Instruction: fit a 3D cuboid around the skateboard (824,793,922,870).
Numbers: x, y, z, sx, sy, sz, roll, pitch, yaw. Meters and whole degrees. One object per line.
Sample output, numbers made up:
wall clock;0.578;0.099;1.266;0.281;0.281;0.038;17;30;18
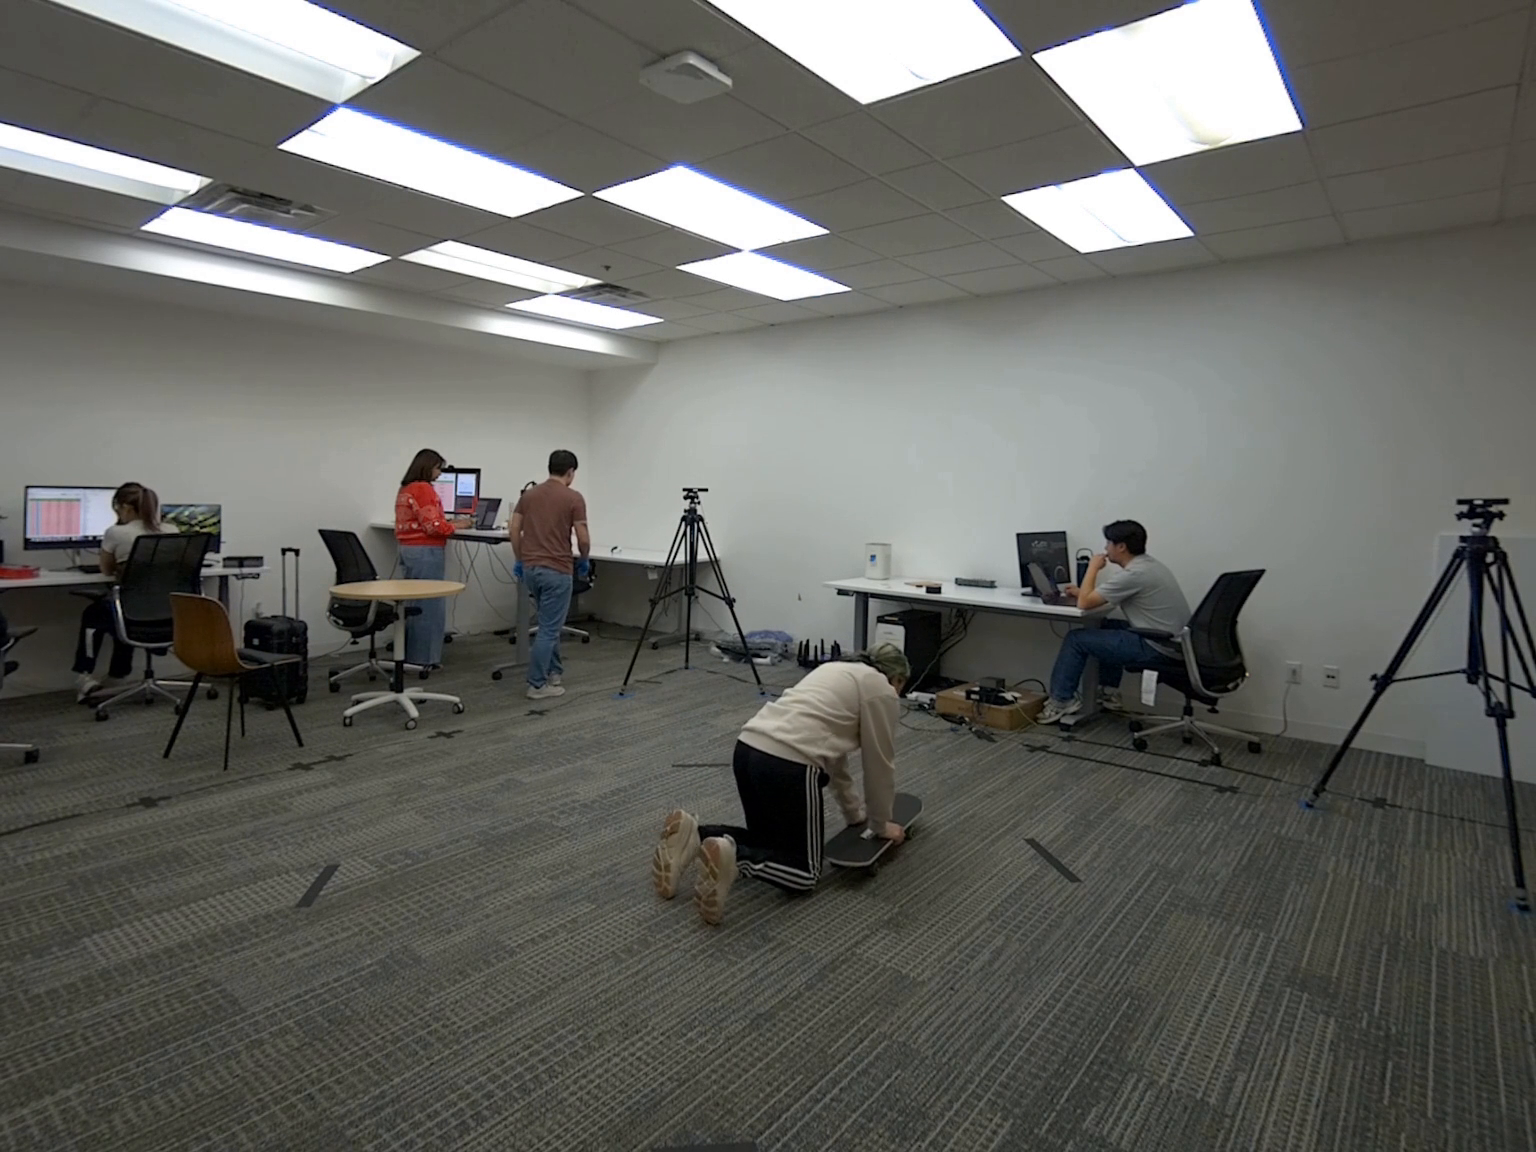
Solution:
skateboard;0.406;1.013;3.301;0.199;0.110;0.766;4;7;29
